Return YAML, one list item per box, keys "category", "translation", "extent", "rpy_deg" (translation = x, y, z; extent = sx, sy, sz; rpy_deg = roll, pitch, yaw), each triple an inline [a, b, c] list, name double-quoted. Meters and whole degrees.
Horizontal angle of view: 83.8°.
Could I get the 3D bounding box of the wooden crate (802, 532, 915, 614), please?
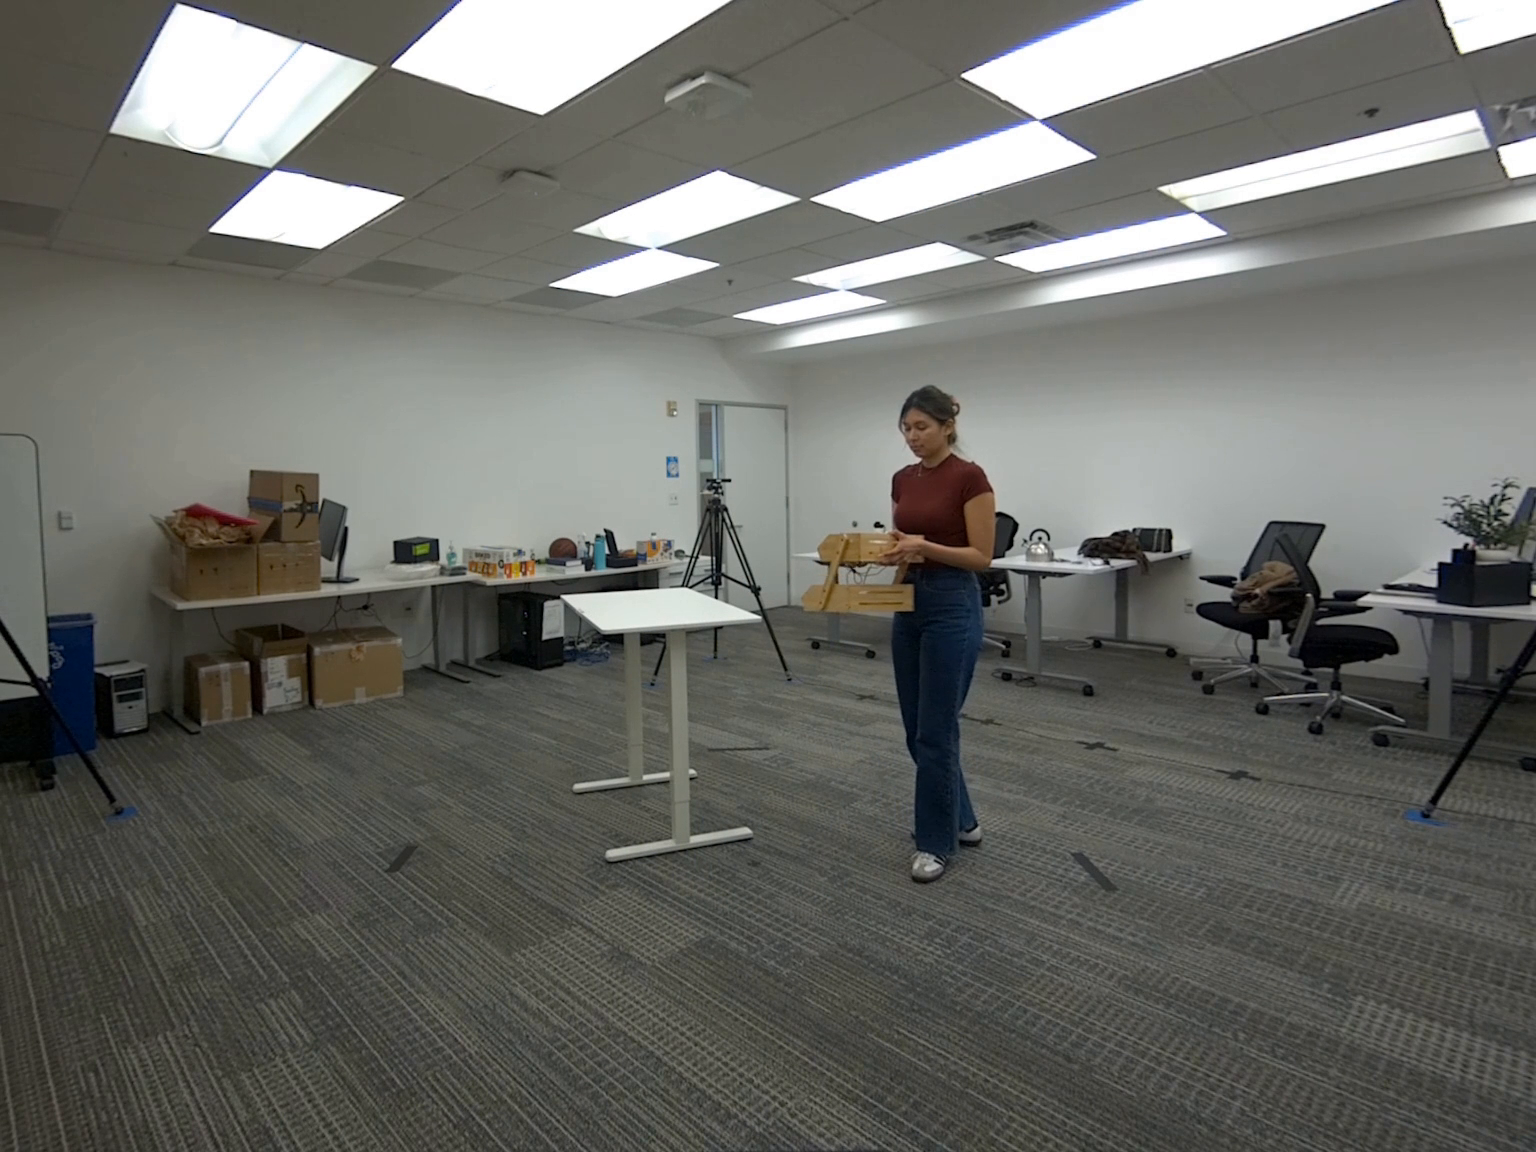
- category: "wooden crate"
  translation: [0.327, -0.016, 2.969]
  extent: [0.315, 0.274, 0.310]
  rpy_deg: [1, -1, -35]
